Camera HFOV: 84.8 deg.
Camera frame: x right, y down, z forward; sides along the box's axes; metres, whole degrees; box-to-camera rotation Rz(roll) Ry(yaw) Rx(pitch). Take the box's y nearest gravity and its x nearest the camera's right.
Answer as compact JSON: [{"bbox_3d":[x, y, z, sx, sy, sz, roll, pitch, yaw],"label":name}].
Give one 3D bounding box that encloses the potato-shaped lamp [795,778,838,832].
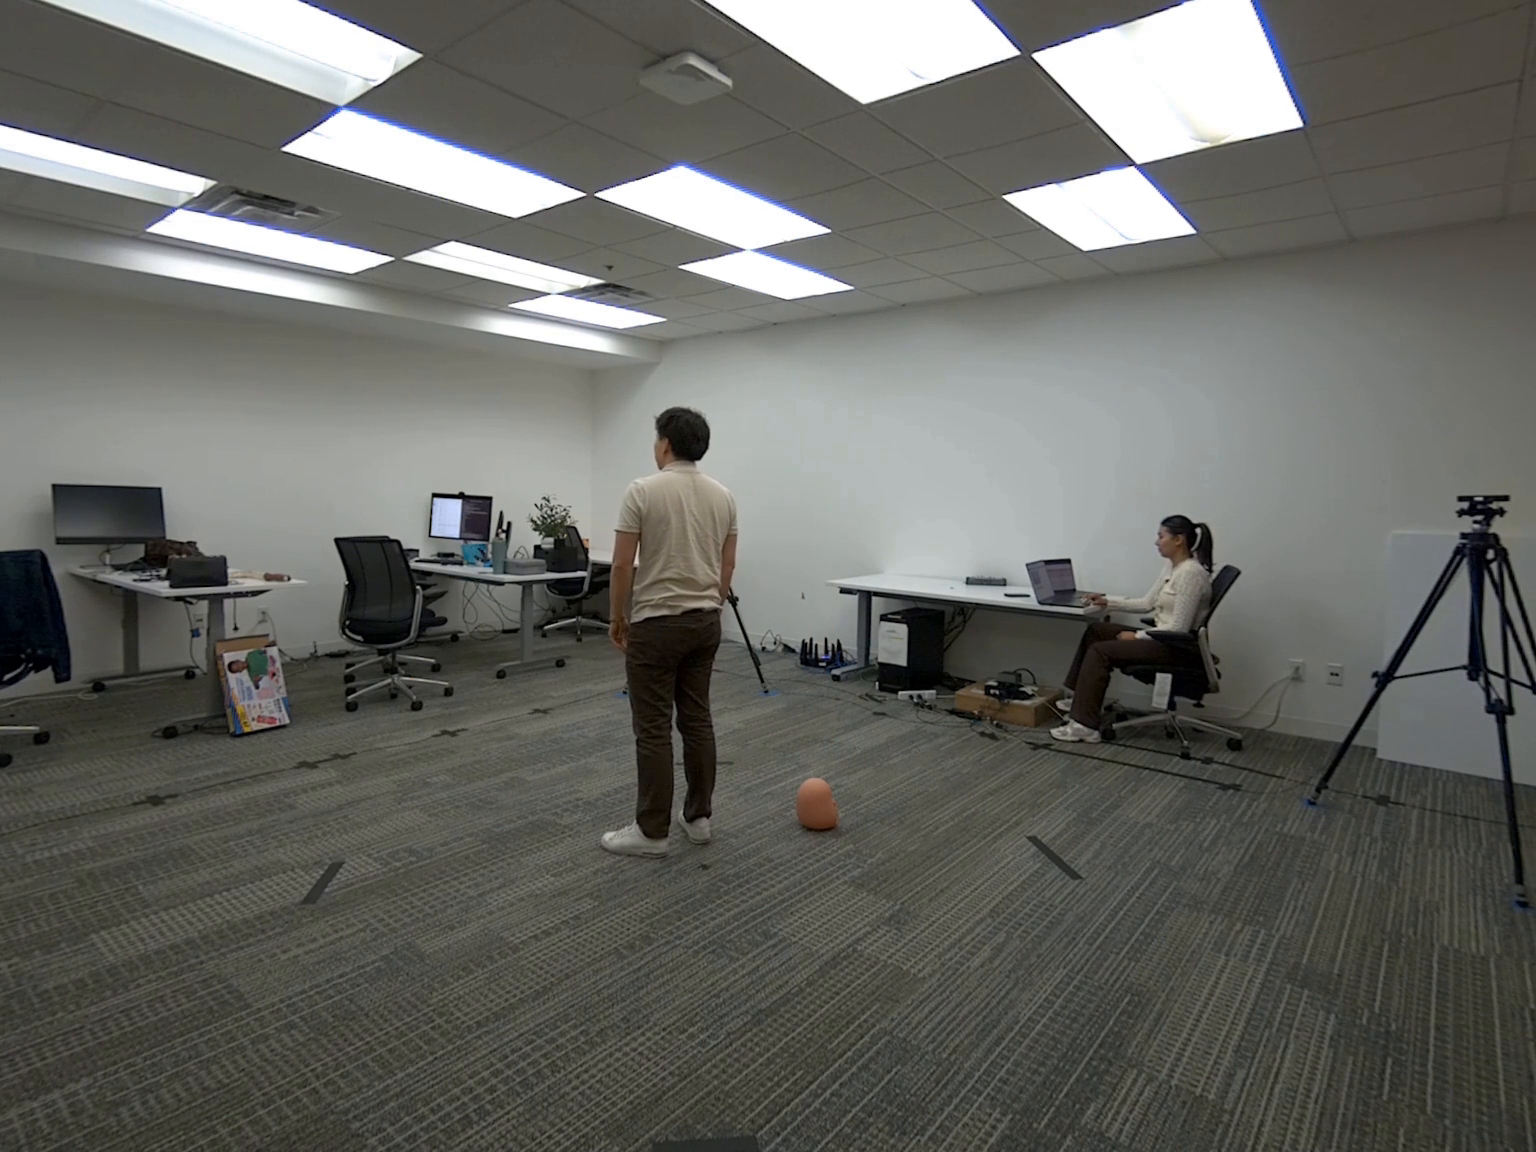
[{"bbox_3d":[0.186,0.930,3.521,0.167,0.197,0.169,-5,6,-26],"label":"potato-shaped lamp"}]
